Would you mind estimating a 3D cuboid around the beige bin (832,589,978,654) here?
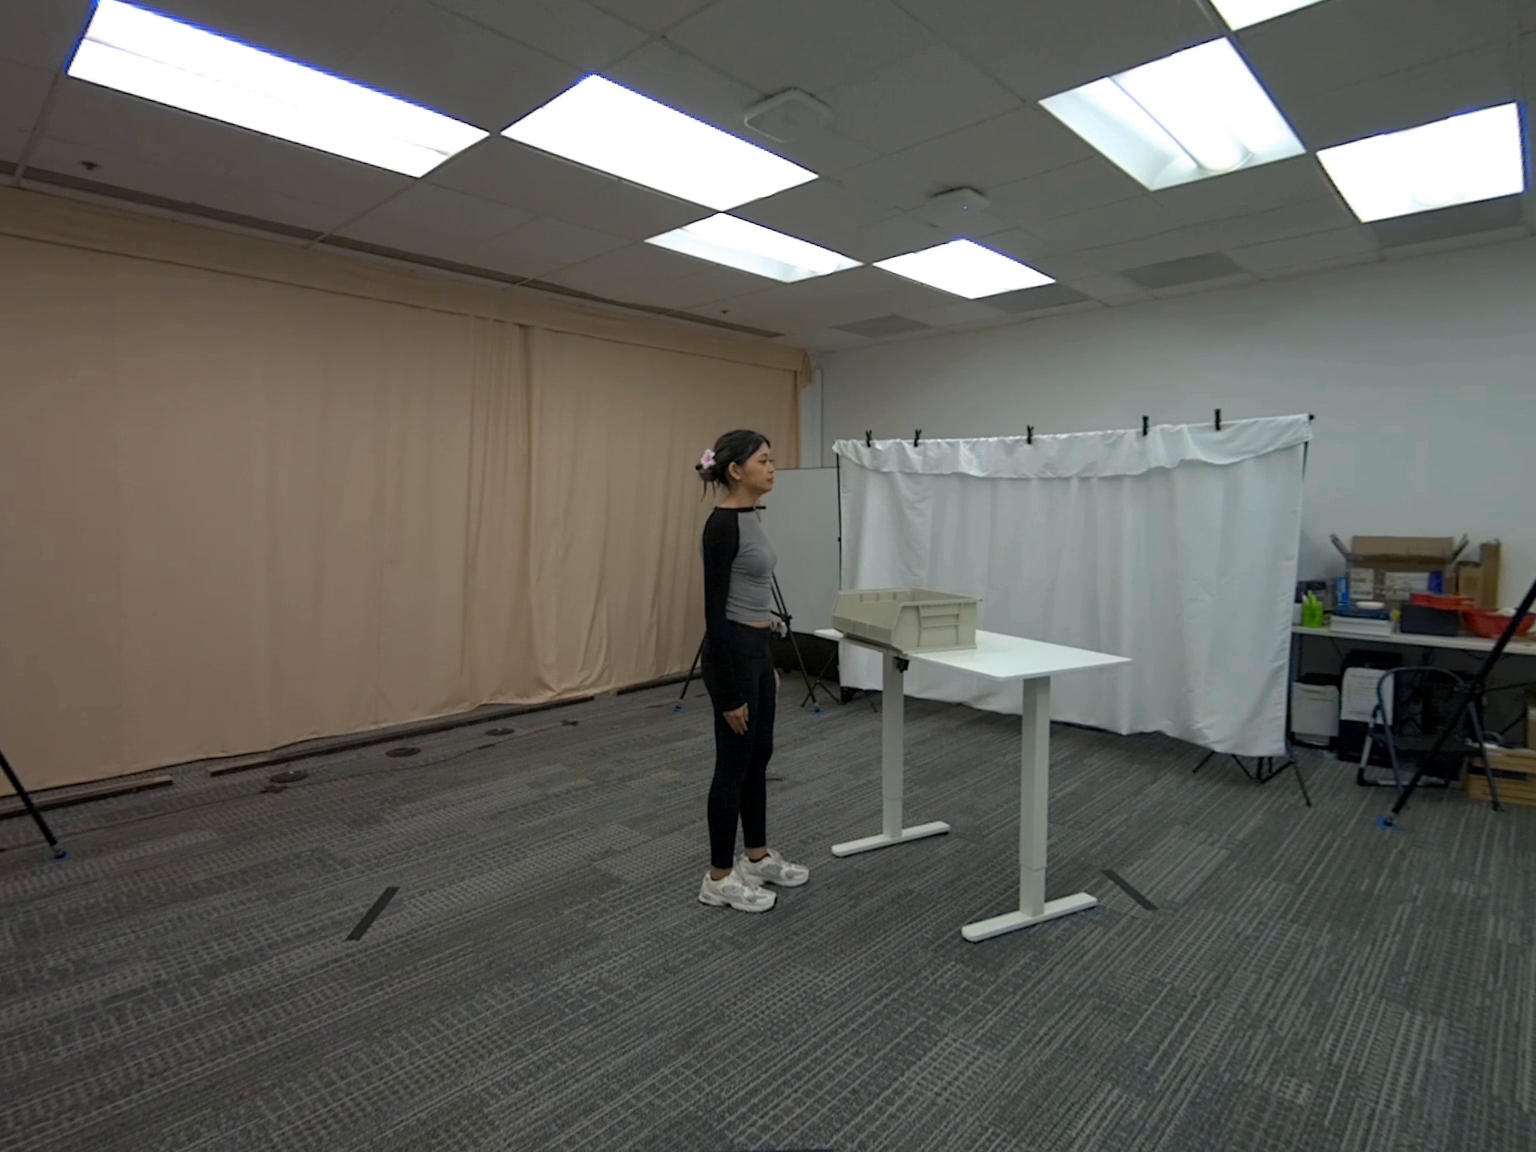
[{"bbox_3d":[0.508,0.159,3.116,0.368,0.188,0.433,-1,4,-25],"label":"beige bin"}]
